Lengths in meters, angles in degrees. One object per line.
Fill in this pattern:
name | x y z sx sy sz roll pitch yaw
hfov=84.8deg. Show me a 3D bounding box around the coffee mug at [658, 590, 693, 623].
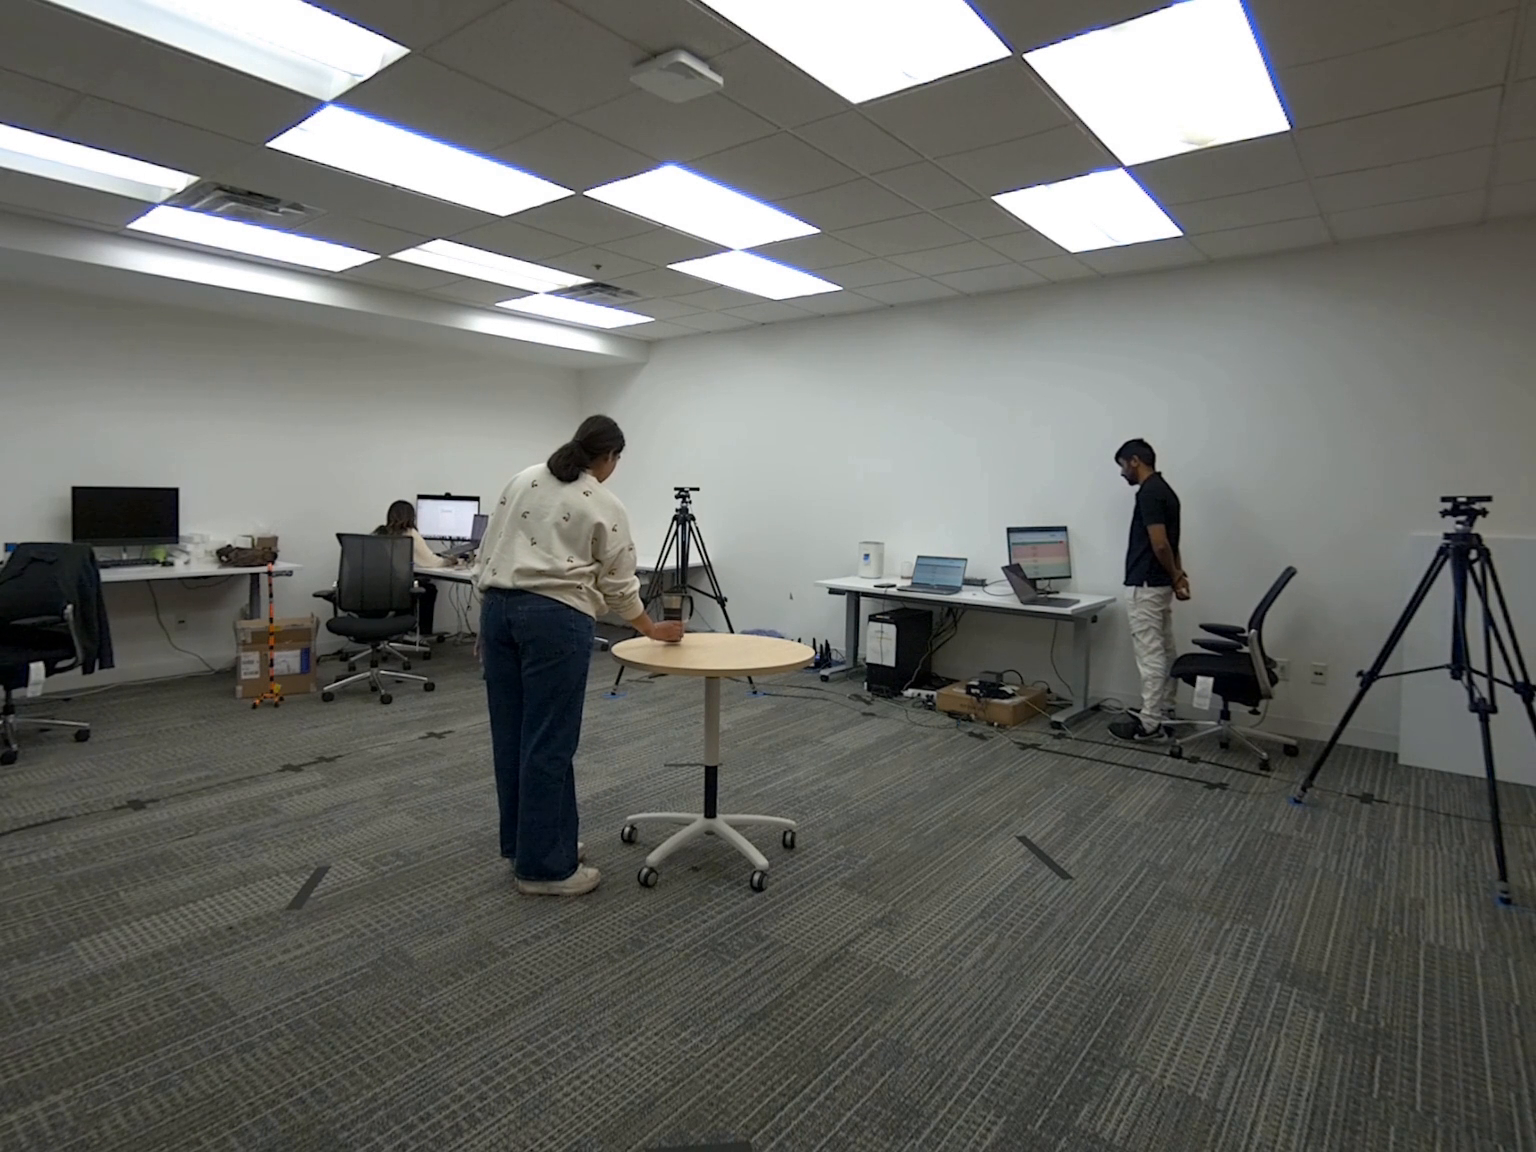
coffee mug | -0.359 0.154 3.300 0.125 0.204 0.085 0 -4 27
